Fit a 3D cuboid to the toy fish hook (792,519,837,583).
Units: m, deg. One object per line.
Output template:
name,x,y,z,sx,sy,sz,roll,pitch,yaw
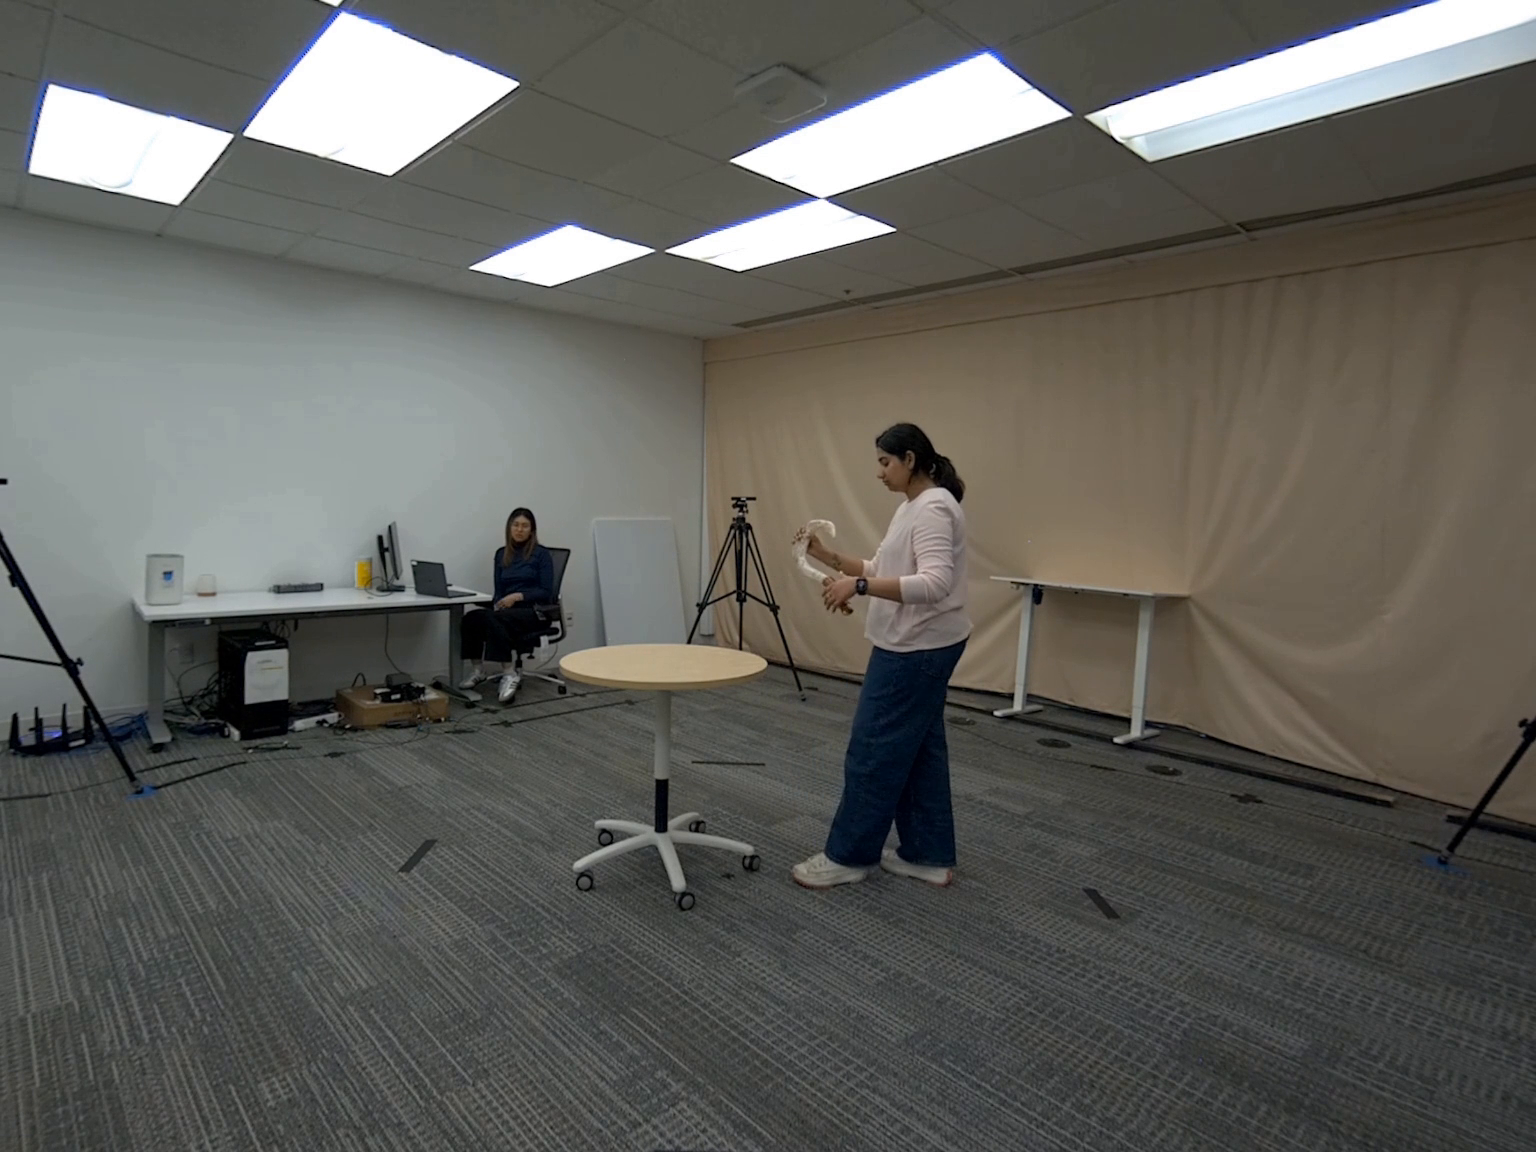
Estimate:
toy fish hook,0.218,-0.047,3.058,0.047,0.223,0.522,19,21,-30
